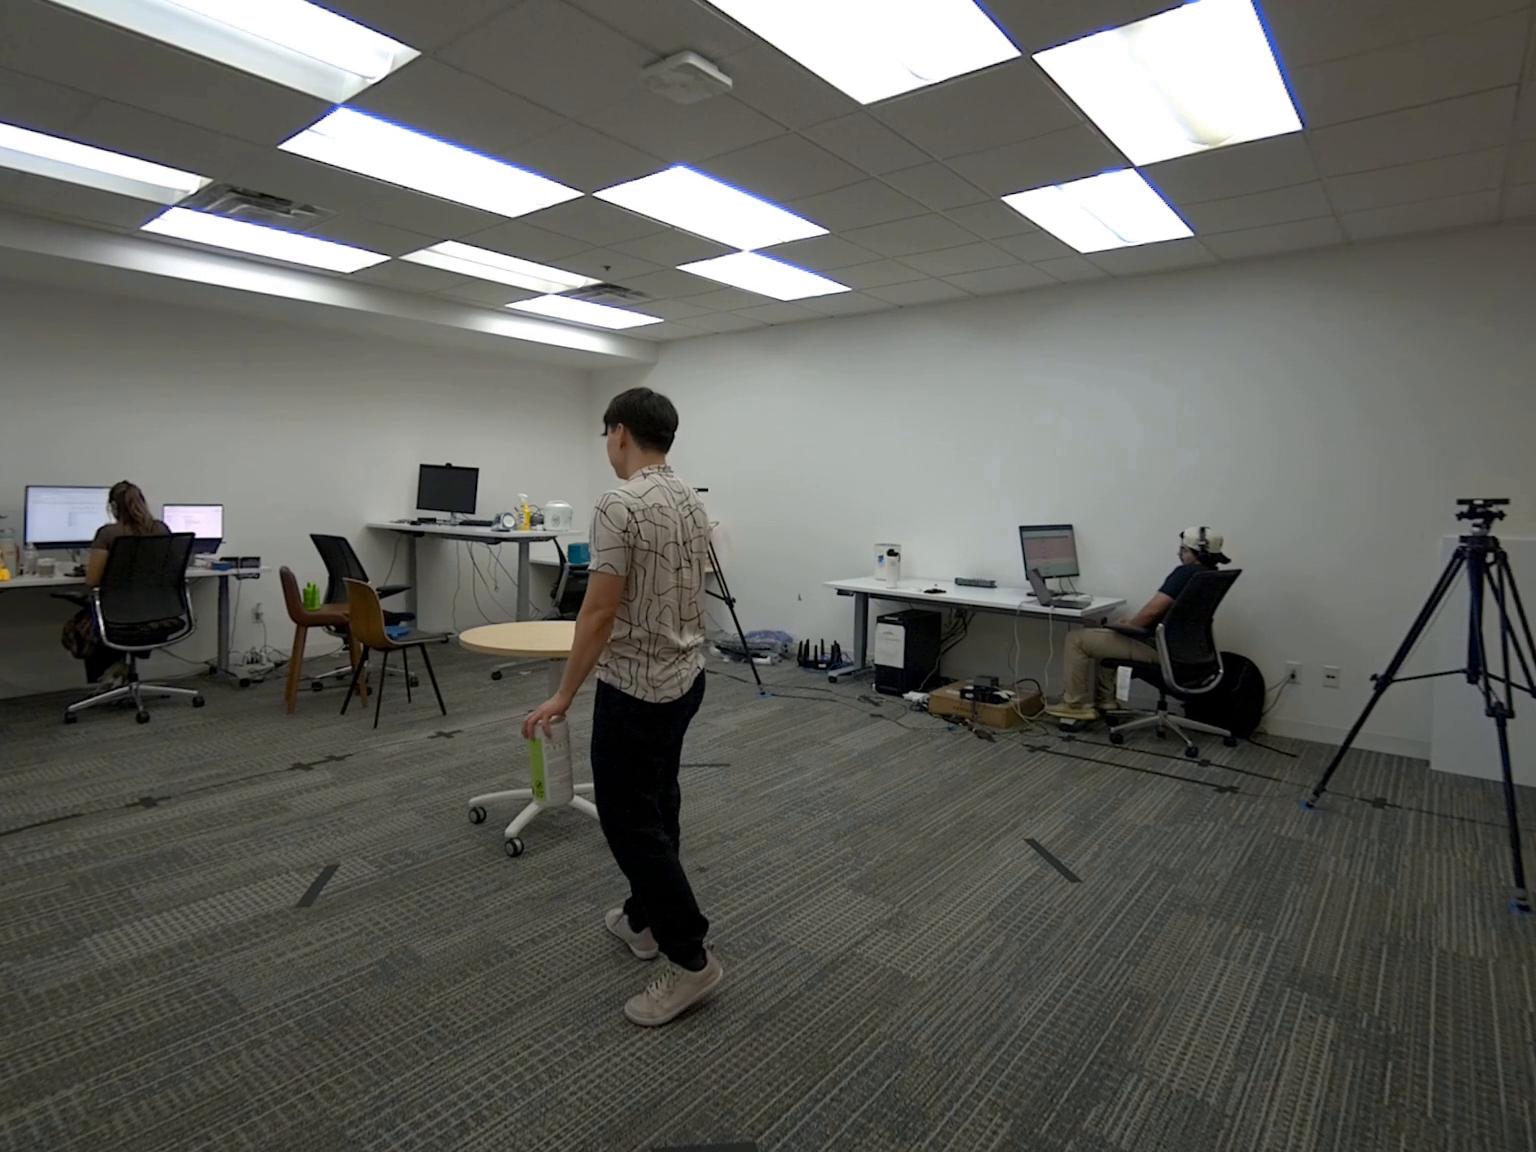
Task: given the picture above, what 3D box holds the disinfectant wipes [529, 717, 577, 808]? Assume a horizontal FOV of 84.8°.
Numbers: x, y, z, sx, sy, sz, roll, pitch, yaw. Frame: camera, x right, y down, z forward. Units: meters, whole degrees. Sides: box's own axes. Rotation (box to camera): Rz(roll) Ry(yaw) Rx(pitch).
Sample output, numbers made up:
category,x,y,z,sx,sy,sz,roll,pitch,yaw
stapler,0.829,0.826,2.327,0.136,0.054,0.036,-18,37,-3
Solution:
category,x,y,z,sx,sy,sz,roll,pitch,yaw
disinfectant wipes,-0.583,0.491,2.247,0.118,0.217,0.118,-5,2,-2
